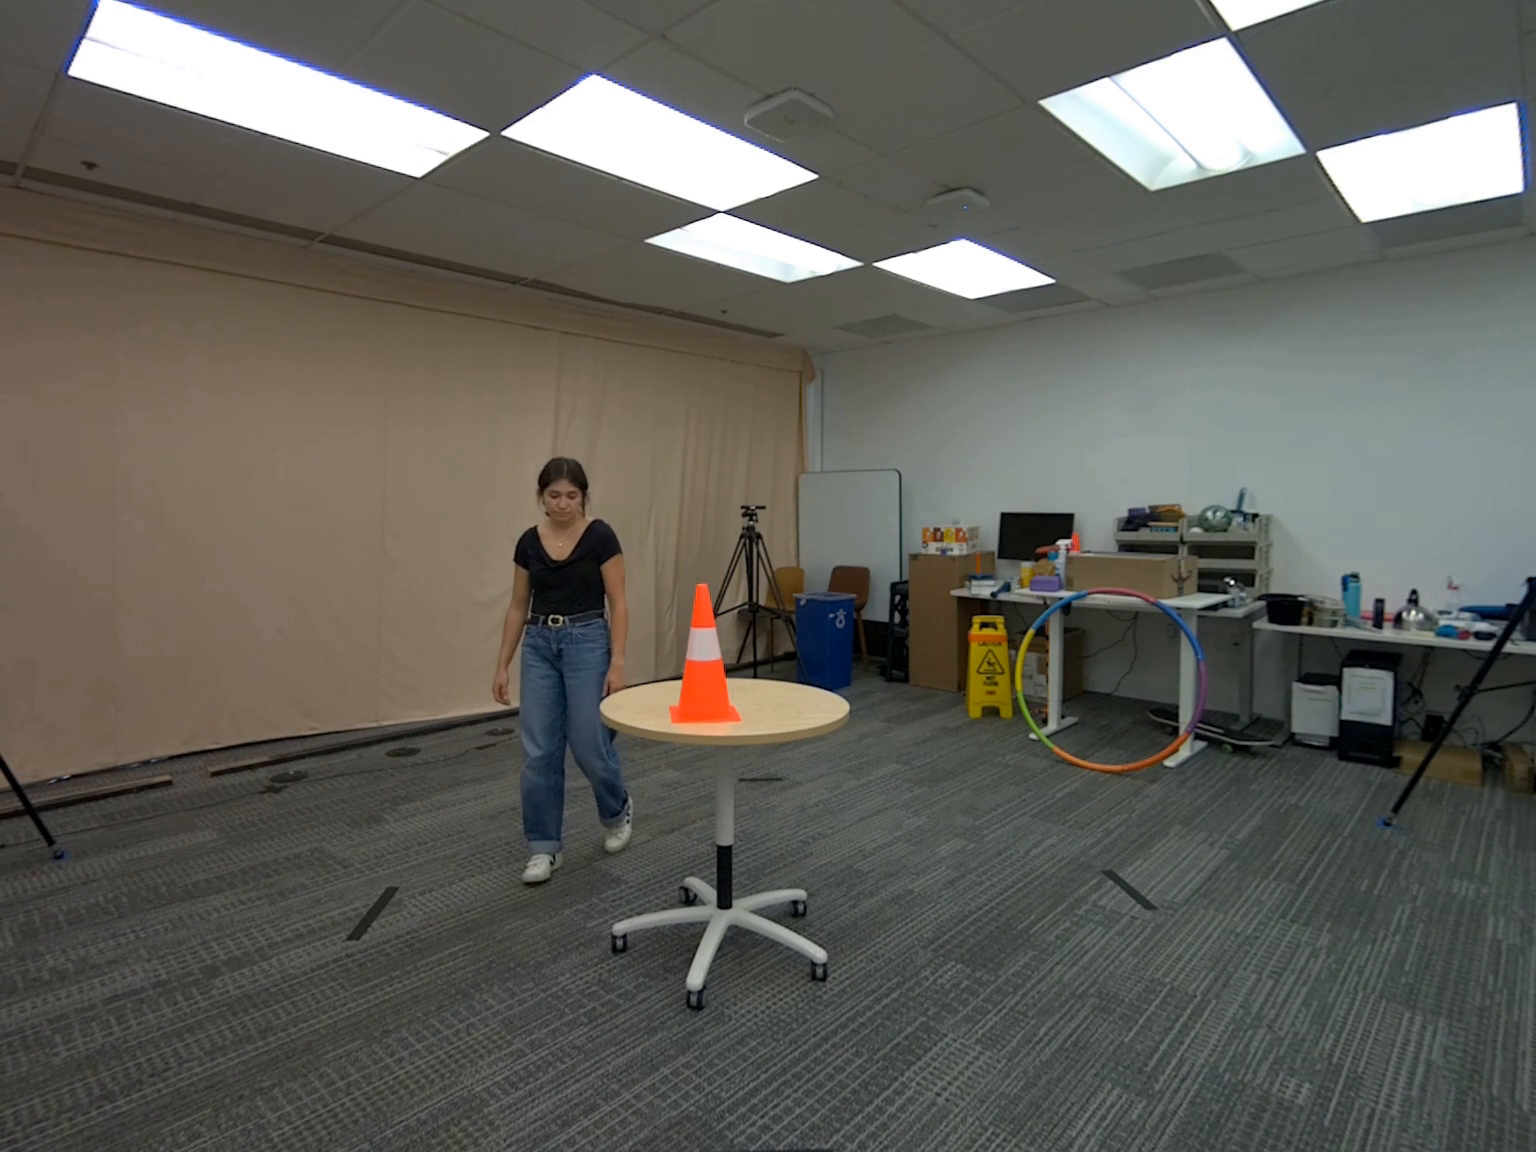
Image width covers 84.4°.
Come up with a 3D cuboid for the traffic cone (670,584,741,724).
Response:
[{"bbox_3d":[-0.179,0.221,2.446,0.200,0.383,0.208,0,1,-14],"label":"traffic cone"}]
